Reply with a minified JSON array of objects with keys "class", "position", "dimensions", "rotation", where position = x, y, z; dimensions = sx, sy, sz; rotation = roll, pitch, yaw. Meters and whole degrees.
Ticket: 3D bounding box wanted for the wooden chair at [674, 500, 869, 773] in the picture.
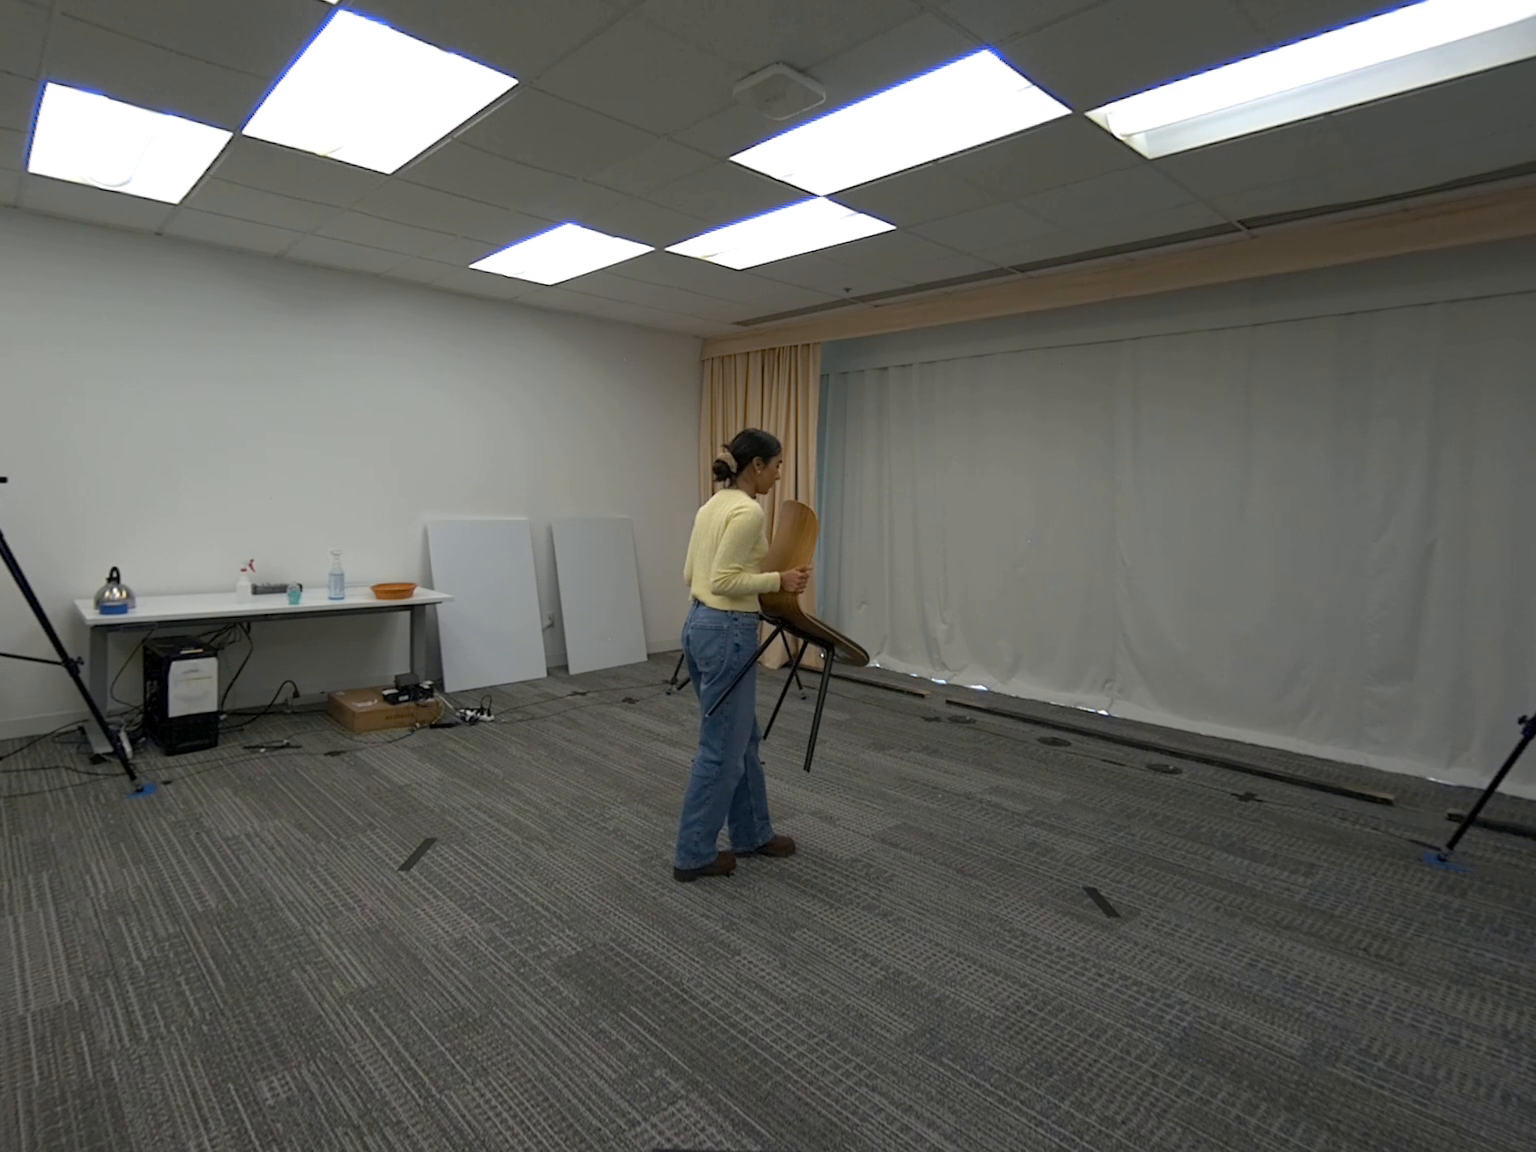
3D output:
[{"class":"wooden chair","position":[0.102,0.210,3.241],"dimensions":[0.513,0.879,0.486],"rotation":[28,-6,-19]}]
